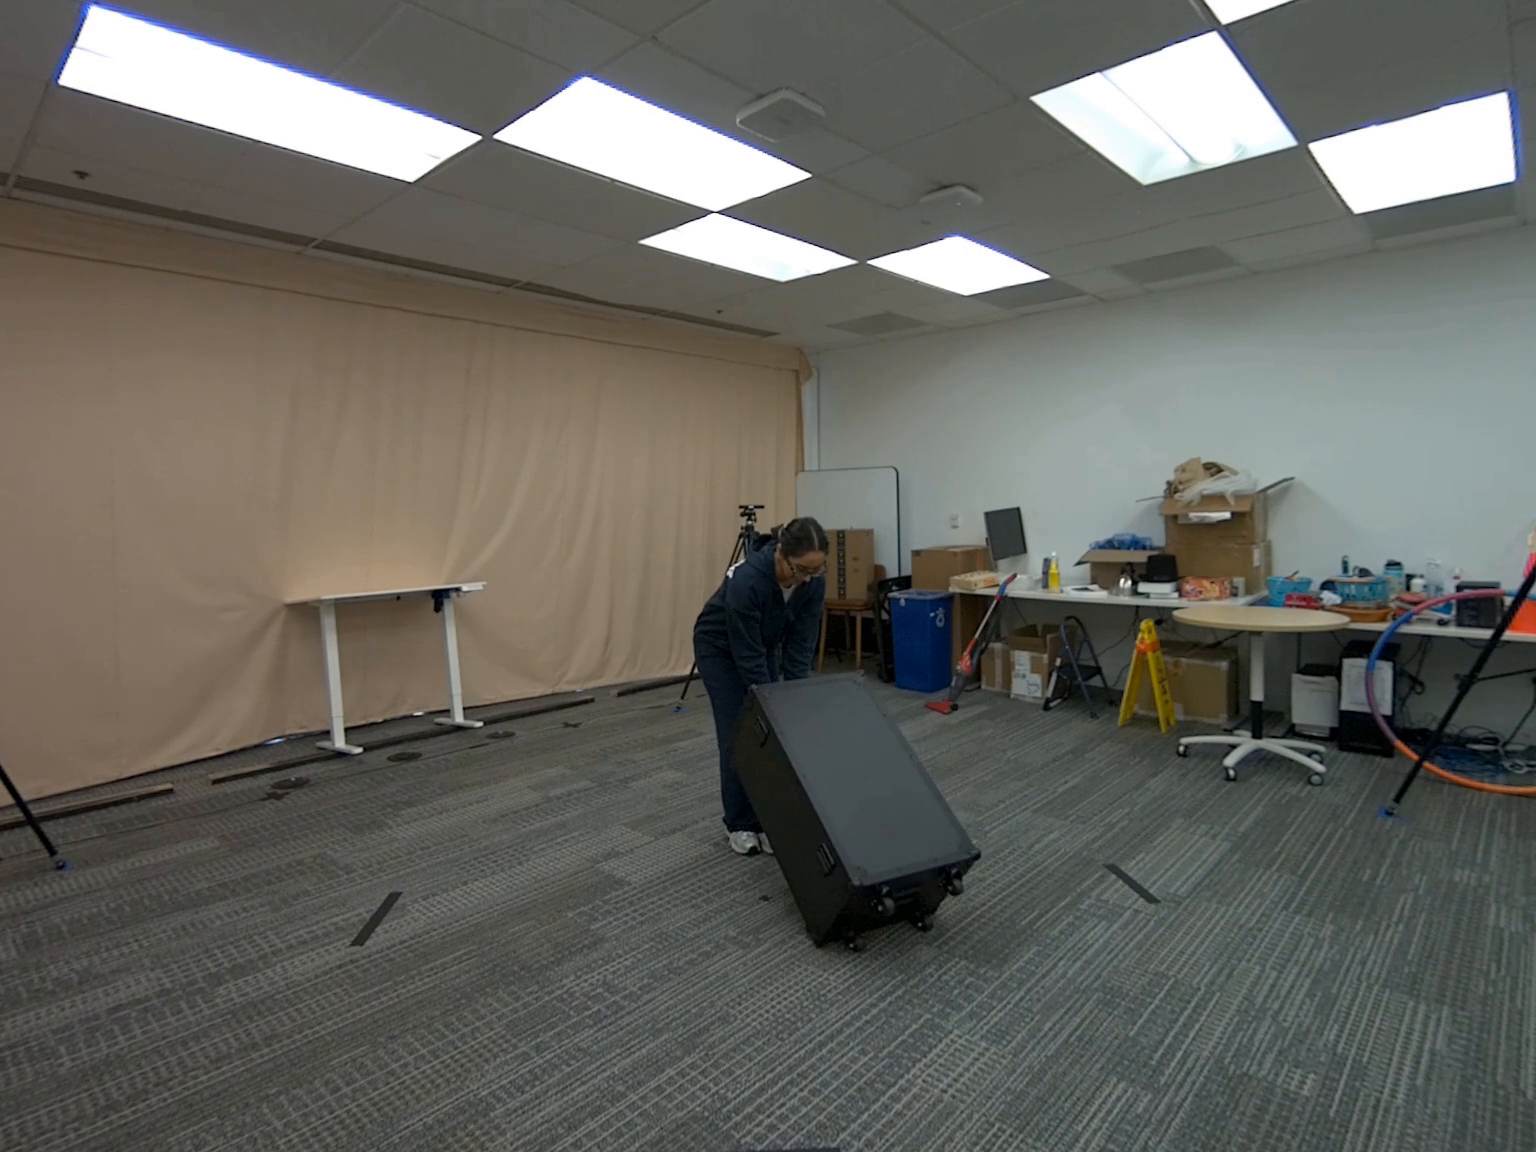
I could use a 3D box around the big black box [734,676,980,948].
[{"bbox_3d":[0.292,0.778,2.884,0.386,0.518,0.890,-1,40,-29],"label":"big black box"}]
